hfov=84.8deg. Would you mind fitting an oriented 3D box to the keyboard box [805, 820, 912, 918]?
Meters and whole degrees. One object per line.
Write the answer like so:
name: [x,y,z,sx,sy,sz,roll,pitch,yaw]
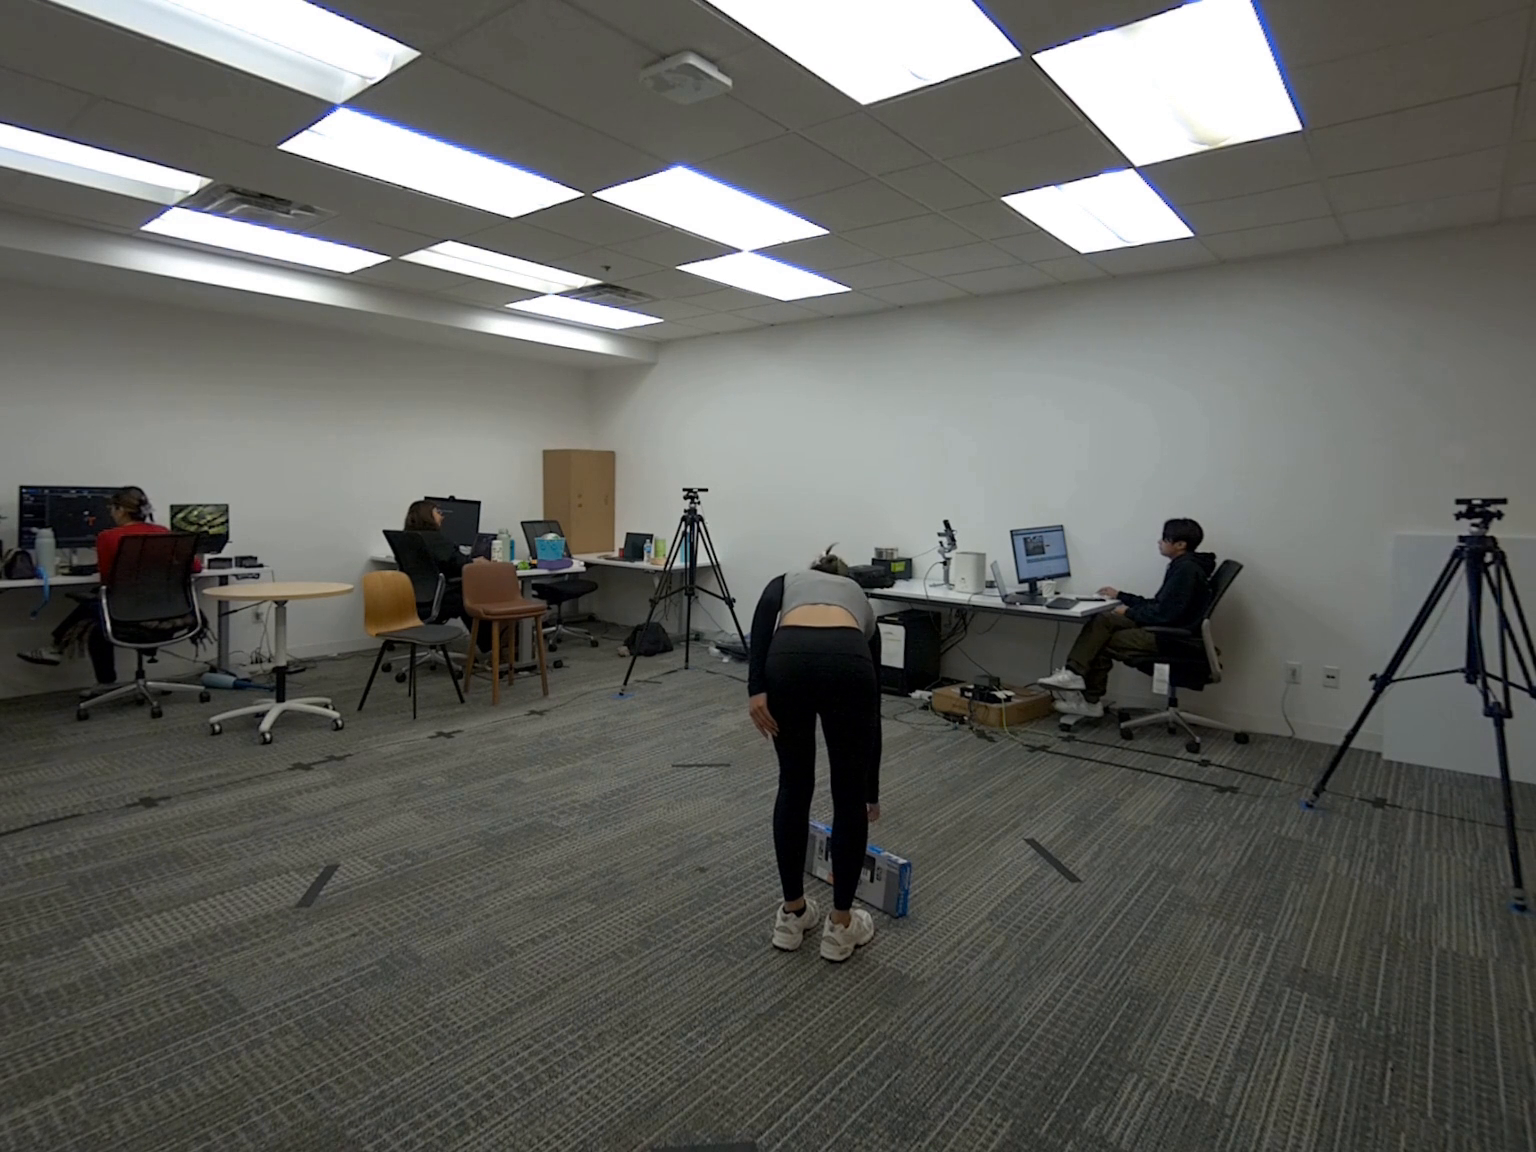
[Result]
keyboard box: [0.292,1.008,2.961,0.057,0.176,0.452,7,1,-42]
